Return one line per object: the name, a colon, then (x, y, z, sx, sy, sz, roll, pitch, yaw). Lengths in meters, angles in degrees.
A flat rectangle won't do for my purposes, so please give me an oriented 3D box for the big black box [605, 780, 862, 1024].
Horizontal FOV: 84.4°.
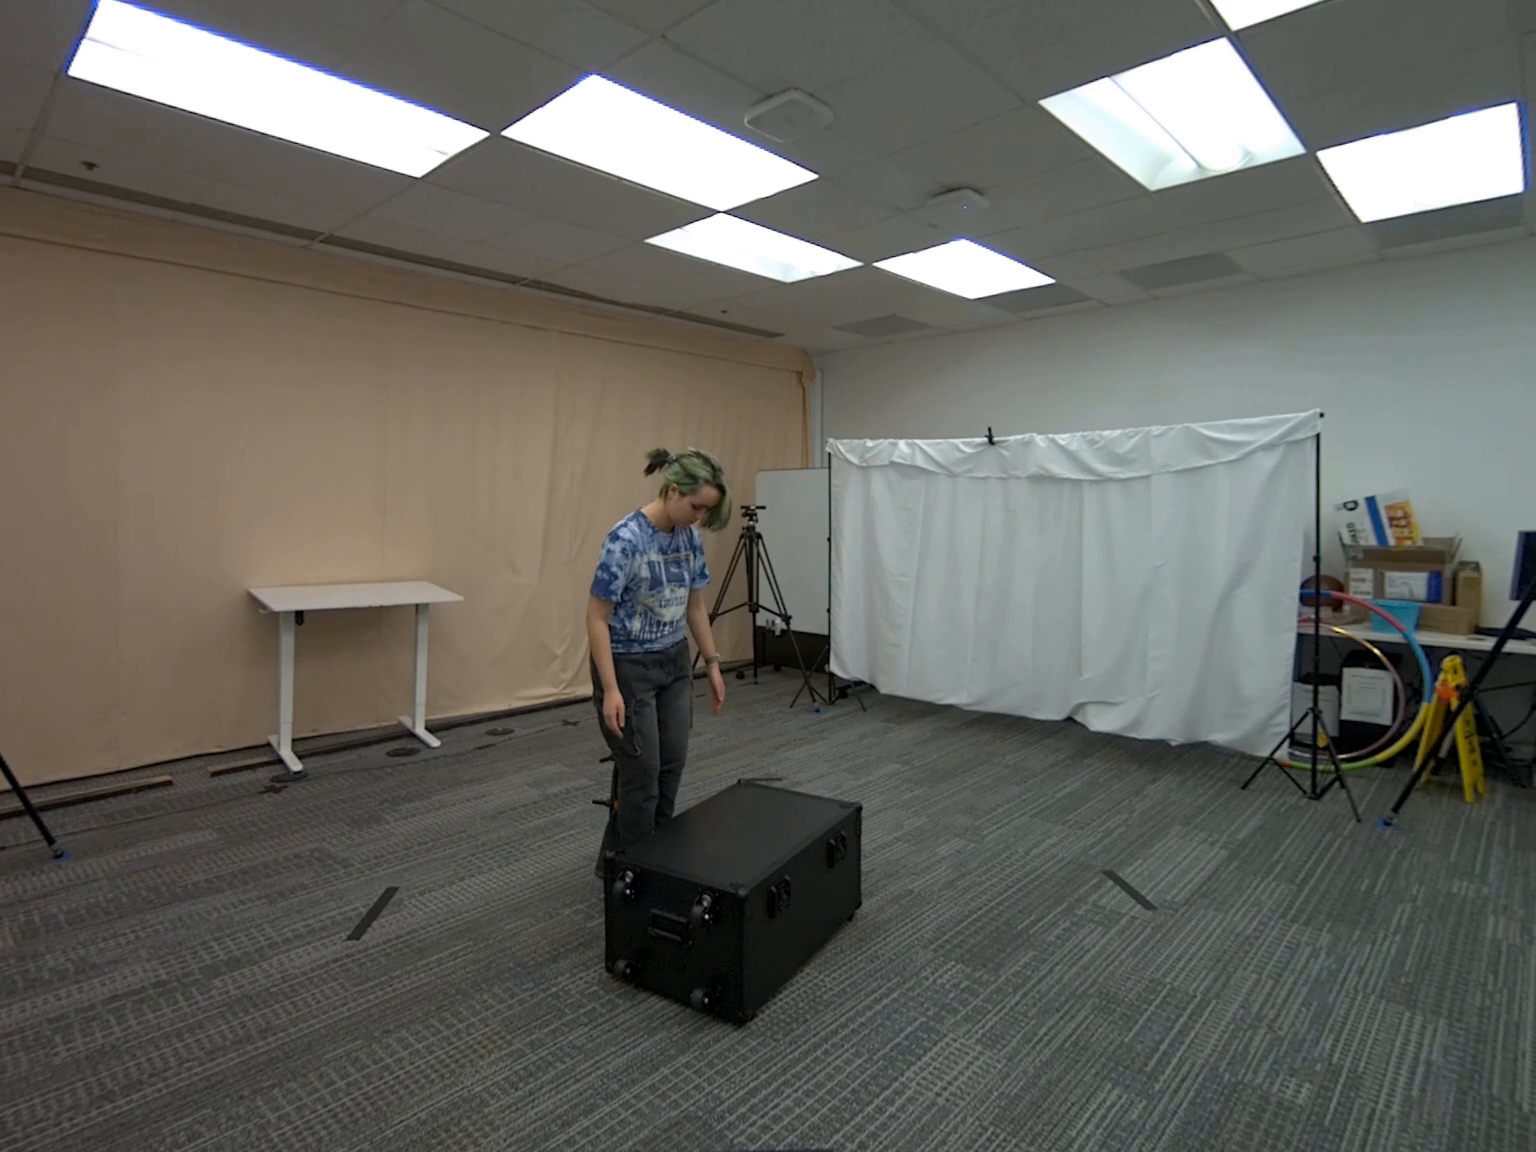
big black box: (-0.093, 0.983, 2.637, 0.536, 0.395, 0.838, 2, 4, 30)
